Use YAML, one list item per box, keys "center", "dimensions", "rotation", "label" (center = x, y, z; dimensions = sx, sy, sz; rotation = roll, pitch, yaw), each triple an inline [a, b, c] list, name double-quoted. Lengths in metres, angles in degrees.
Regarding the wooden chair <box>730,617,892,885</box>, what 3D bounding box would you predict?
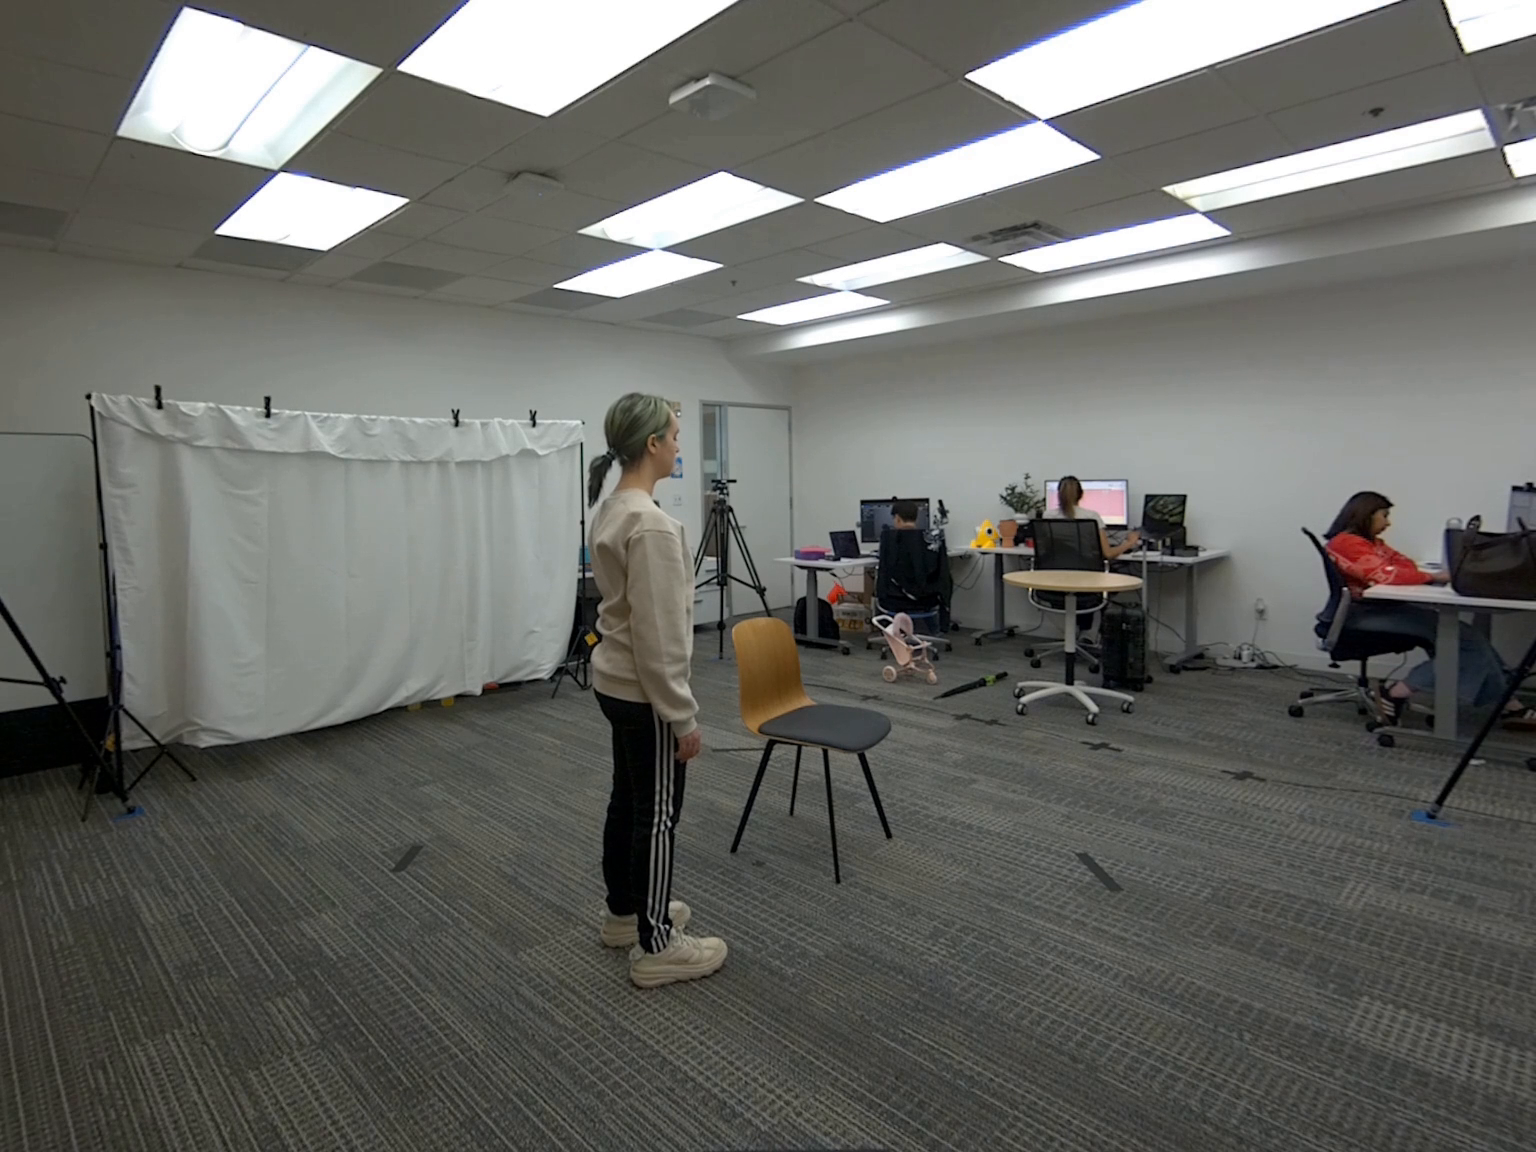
- center: [0.172, 0.602, 3.219]
  dimensions: [0.537, 0.876, 0.466]
  rotation: [-3, 2, 34]
  label: "wooden chair"
